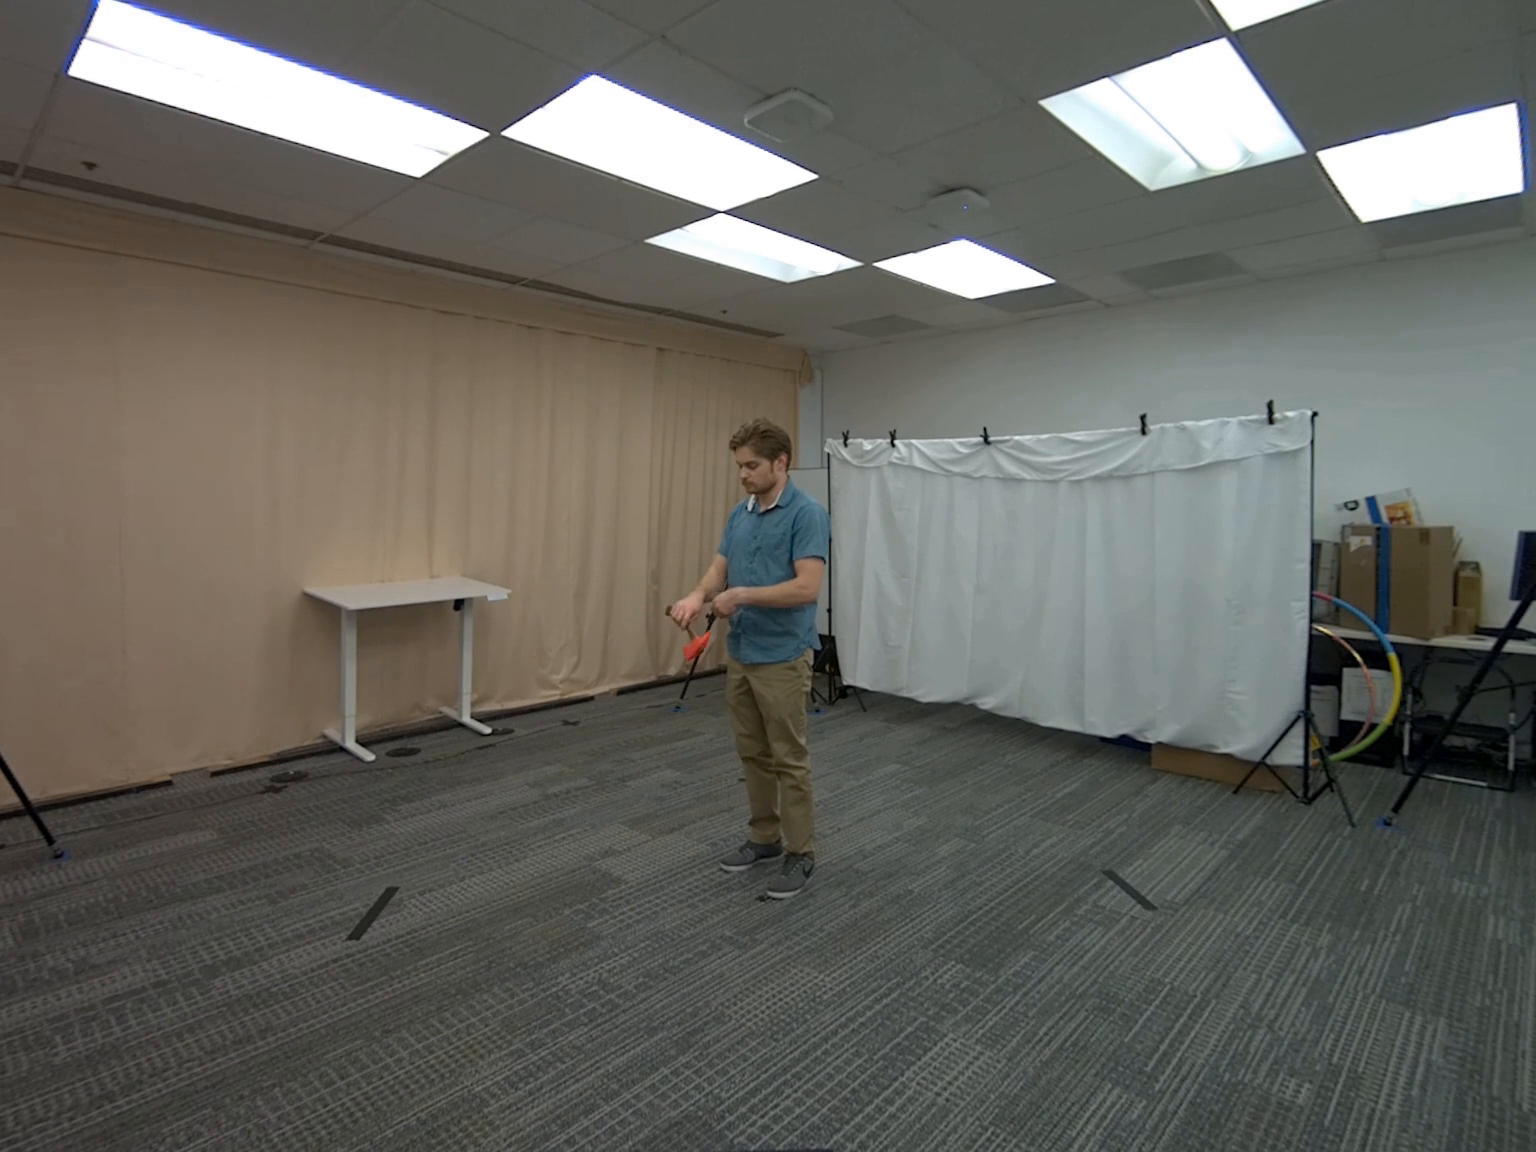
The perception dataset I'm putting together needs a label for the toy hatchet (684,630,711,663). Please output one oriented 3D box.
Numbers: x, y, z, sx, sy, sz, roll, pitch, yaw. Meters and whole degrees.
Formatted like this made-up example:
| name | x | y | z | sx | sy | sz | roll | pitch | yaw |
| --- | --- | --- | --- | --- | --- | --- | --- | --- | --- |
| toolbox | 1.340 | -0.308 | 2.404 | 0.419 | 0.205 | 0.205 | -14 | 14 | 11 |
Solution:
| name | x | y | z | sx | sy | sz | roll | pitch | yaw |
| --- | --- | --- | --- | --- | --- | --- | --- | --- | --- |
| toy hatchet | -0.180 | 0.218 | 2.917 | 0.135 | 0.029 | 0.262 | 37 | 20 | 29 |
